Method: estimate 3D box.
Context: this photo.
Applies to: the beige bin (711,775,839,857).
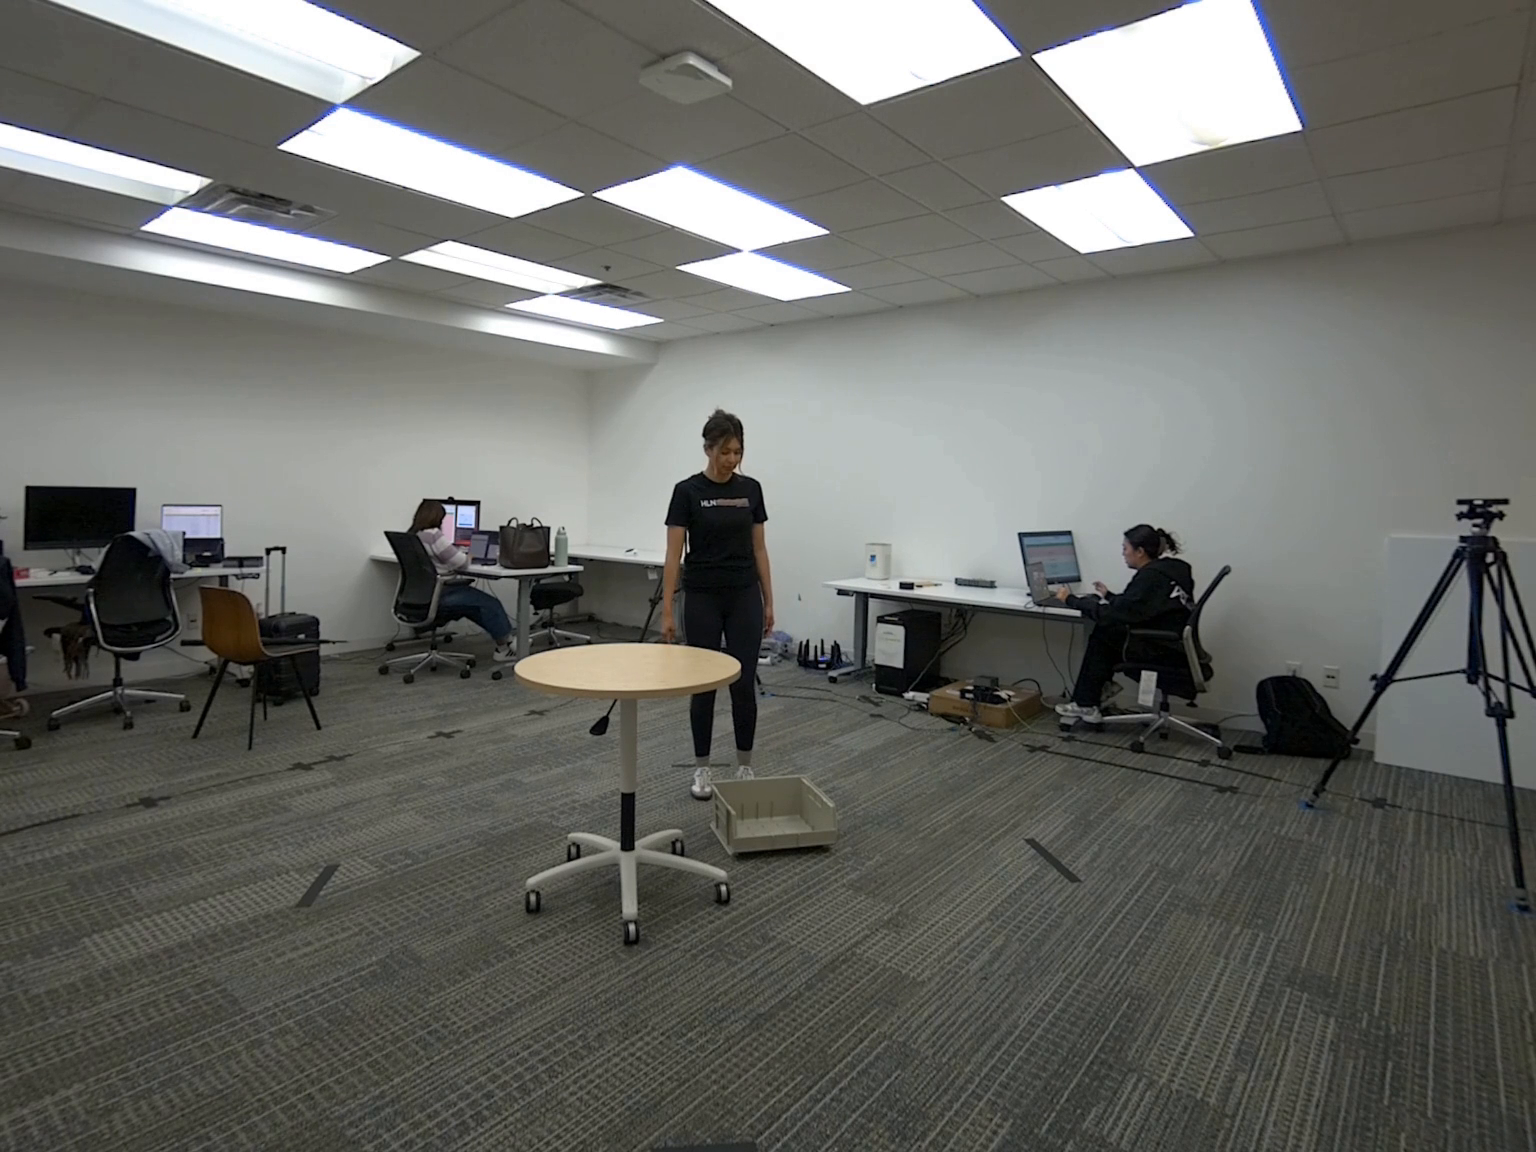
[{"bbox_3d":[0.006,0.964,3.397,0.415,0.188,0.385,0,5,-17],"label":"beige bin"}]
